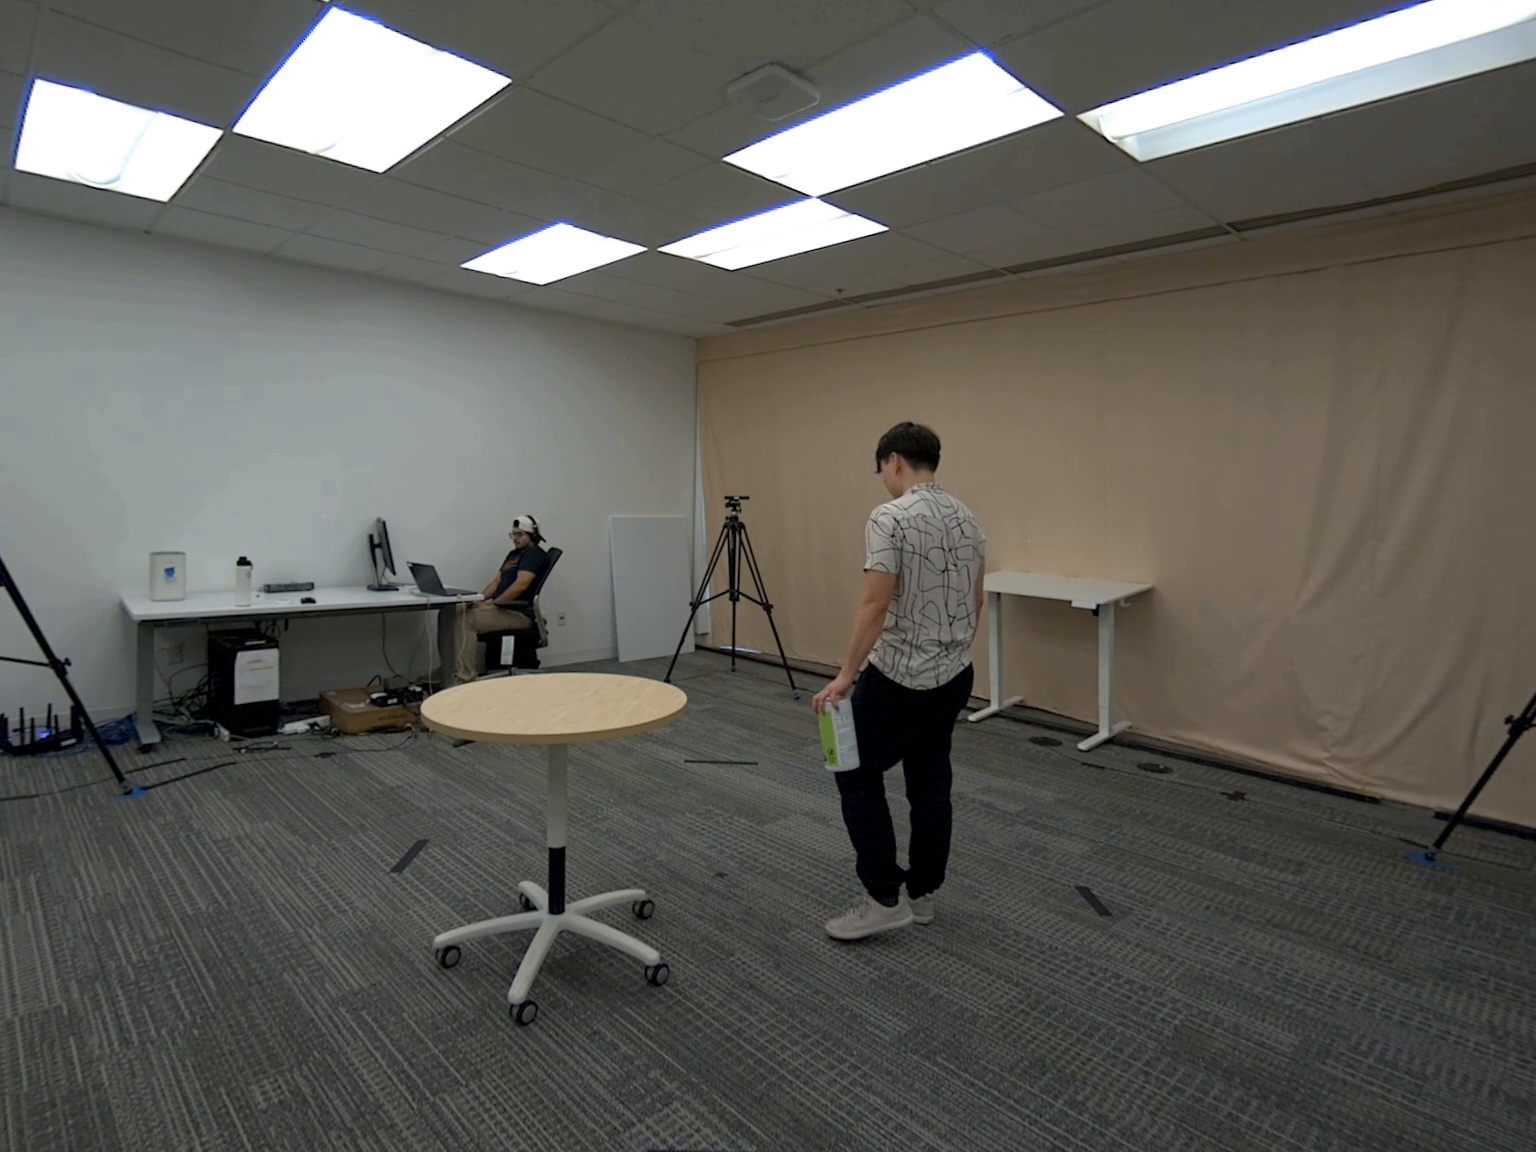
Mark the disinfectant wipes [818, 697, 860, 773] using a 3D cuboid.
[{"bbox_3d":[0.214,0.491,2.623,0.118,0.218,0.117,-5,-3,-2],"label":"disinfectant wipes"}]
